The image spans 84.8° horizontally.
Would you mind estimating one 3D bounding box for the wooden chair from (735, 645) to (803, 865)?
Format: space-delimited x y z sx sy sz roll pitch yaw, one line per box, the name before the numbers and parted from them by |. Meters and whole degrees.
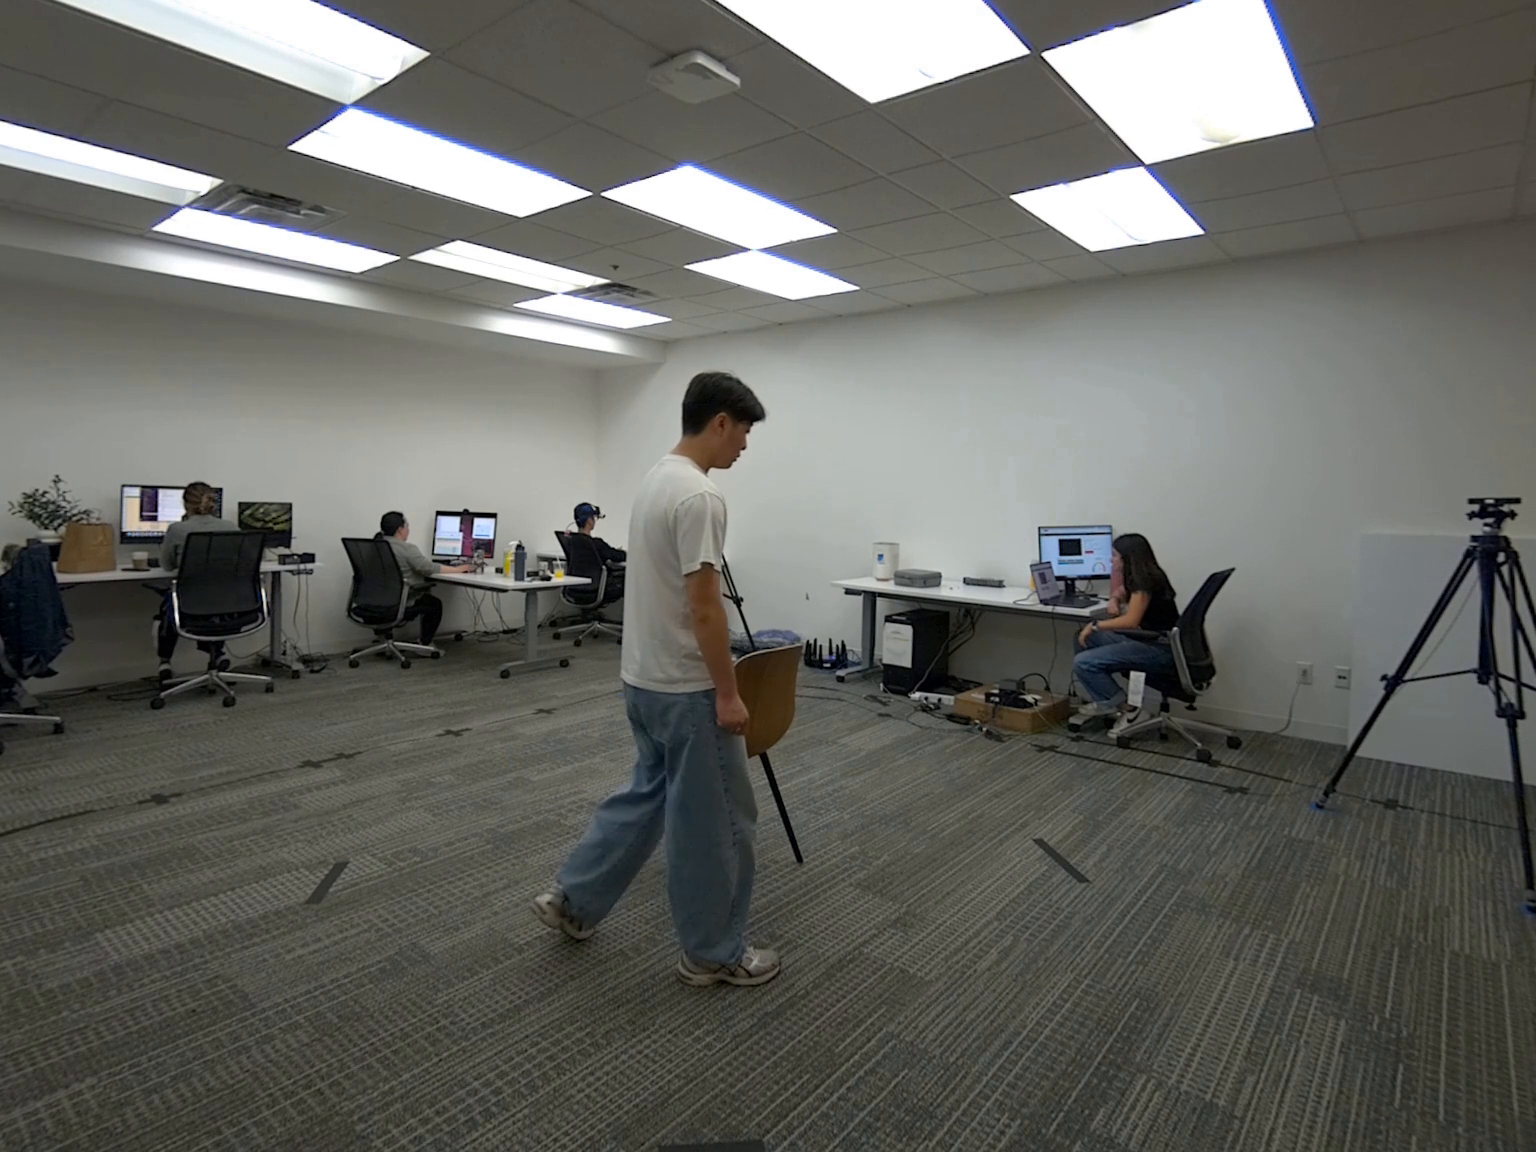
wooden chair | -0.189 0.637 3.130 0.542 0.873 0.464 9 7 38
